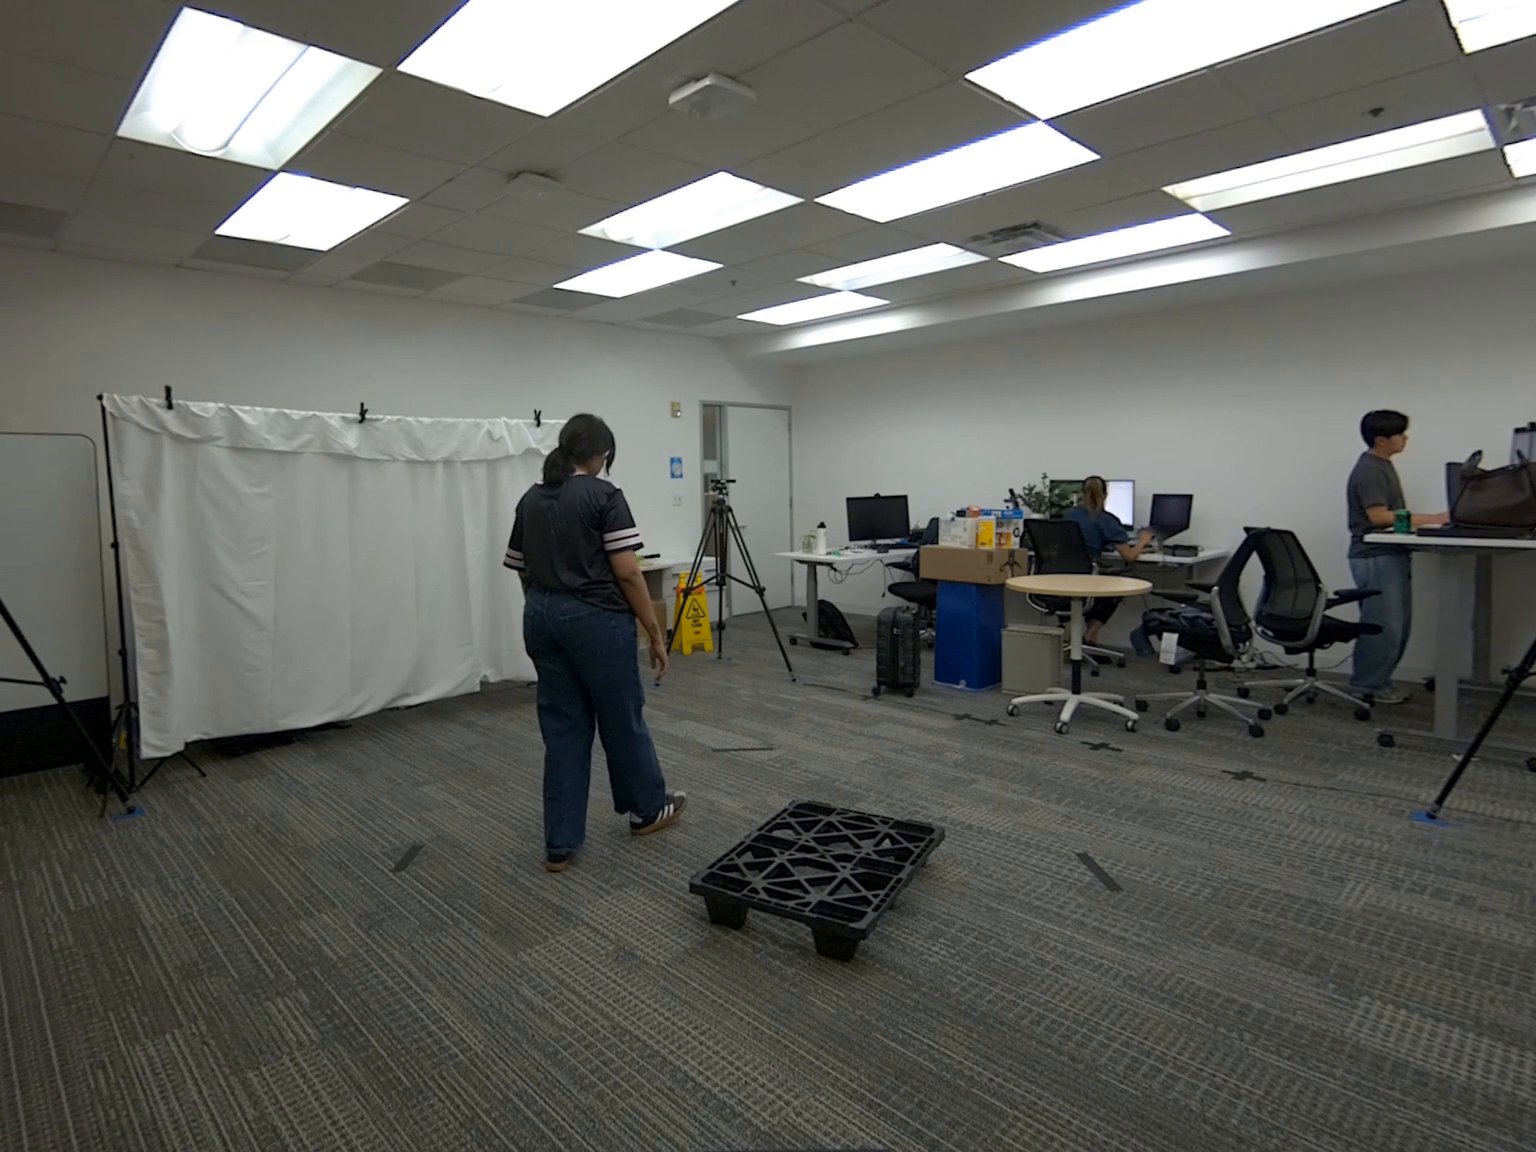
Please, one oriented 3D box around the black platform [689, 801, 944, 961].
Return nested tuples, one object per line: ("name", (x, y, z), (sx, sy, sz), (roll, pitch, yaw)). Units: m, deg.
("black platform", (0.201, 1.000, 2.888), (0.621, 0.142, 0.789), (3, 8, 29))
